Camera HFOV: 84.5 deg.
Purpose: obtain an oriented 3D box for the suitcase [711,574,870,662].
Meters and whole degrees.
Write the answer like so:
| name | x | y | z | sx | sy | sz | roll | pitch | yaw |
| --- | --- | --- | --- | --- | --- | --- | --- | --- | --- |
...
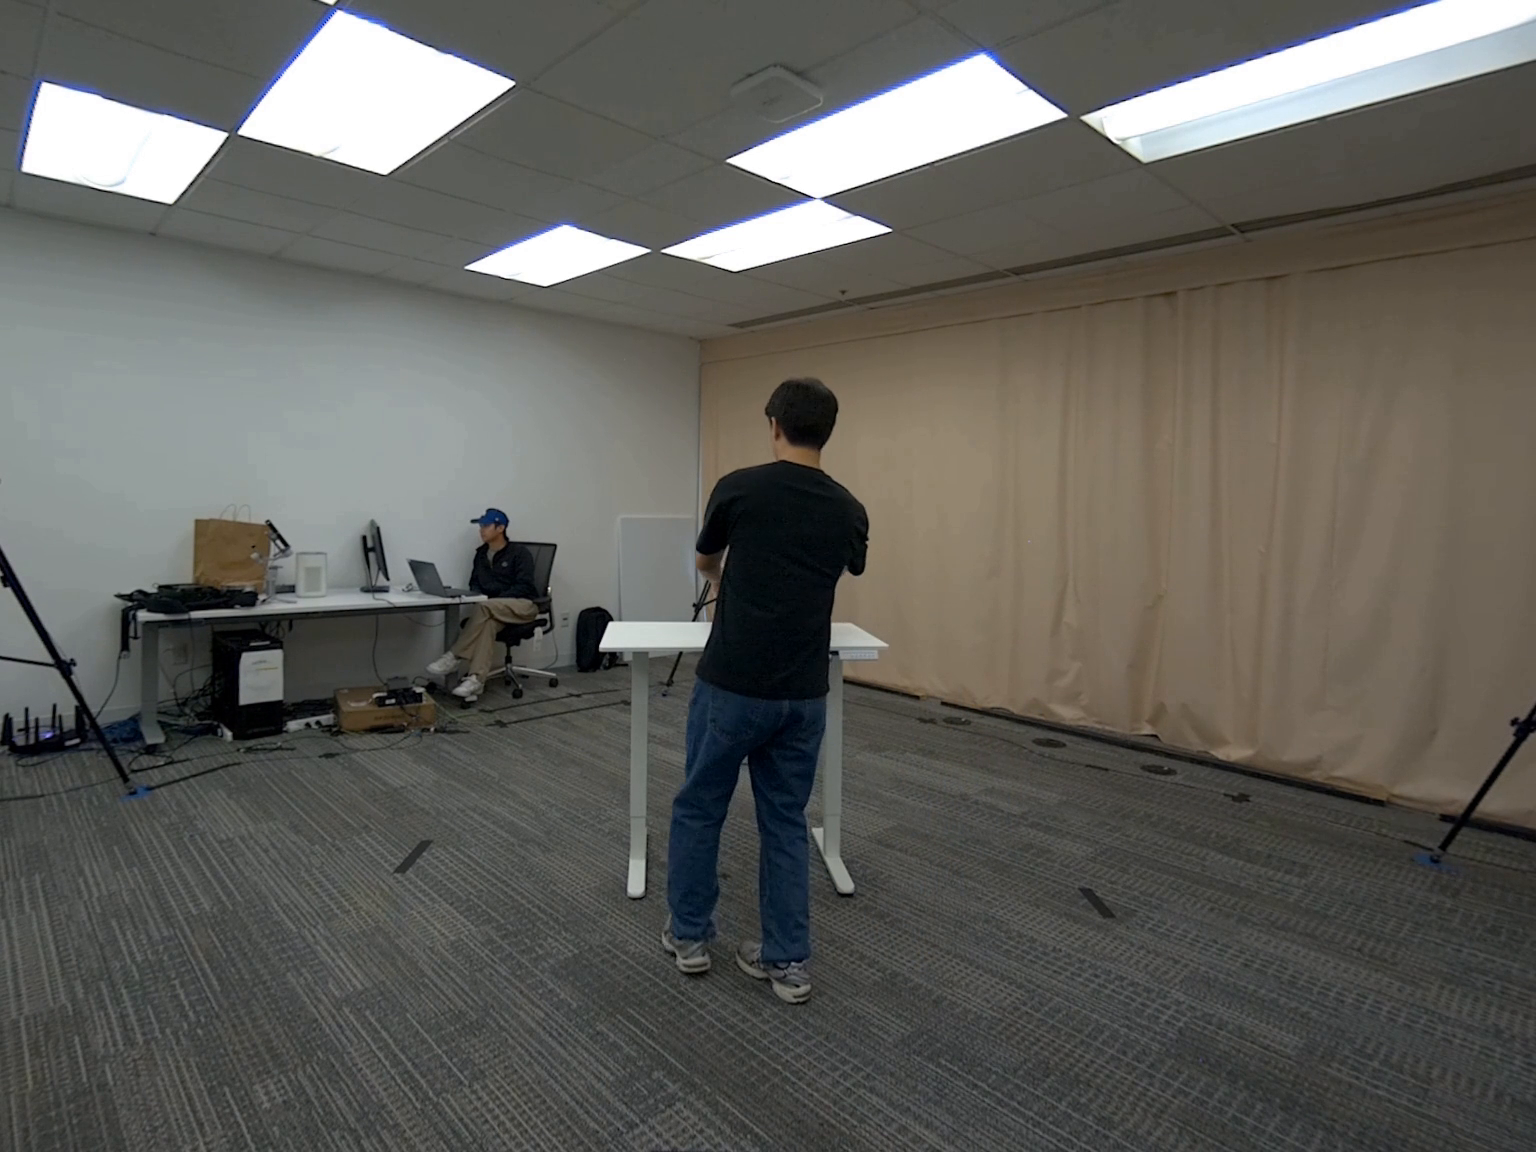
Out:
| name | x | y | z | sx | sy | sz | roll | pitch | yaw |
| --- | --- | --- | --- | --- | --- | --- | --- | --- | --- |
| suitcase | 0.036 | 0.106 | 3.094 | 0.381 | 0.257 | 0.986 | 2 | 2 | -9 |
